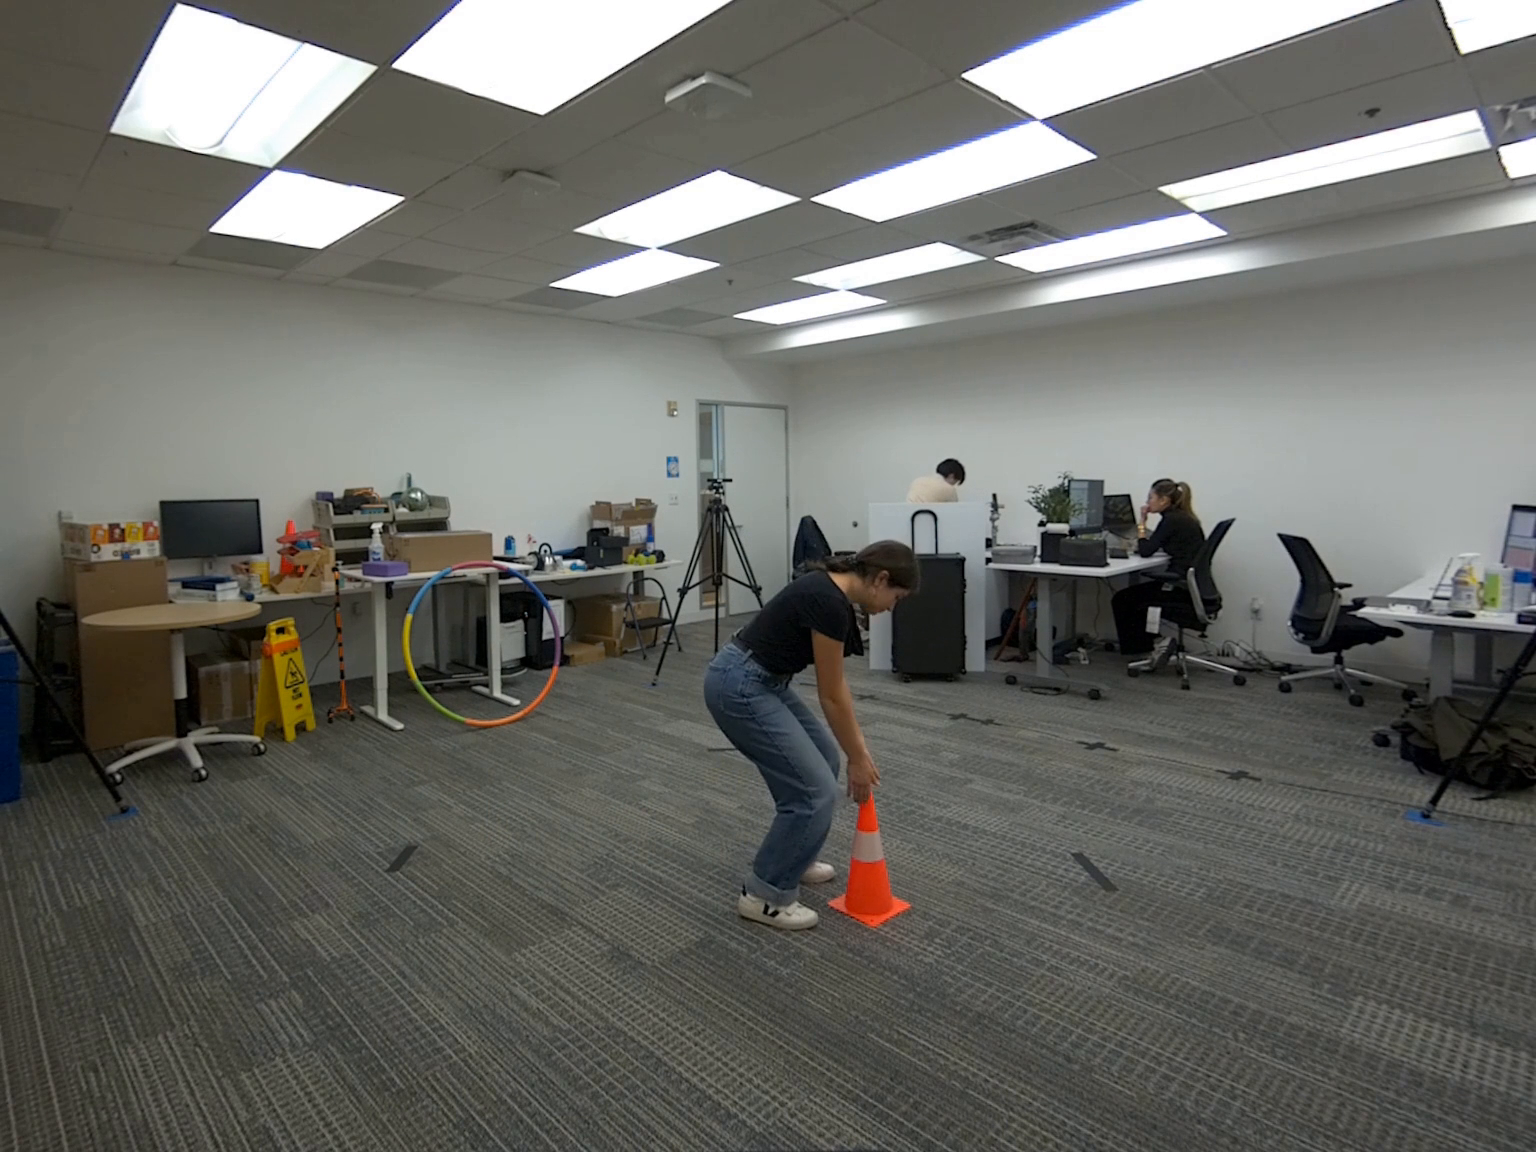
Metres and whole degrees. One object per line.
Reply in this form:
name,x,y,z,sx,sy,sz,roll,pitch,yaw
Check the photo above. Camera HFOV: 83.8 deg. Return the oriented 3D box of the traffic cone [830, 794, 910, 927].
traffic cone,0.323,0.888,2.788,0.198,0.383,0.211,-4,4,-43
